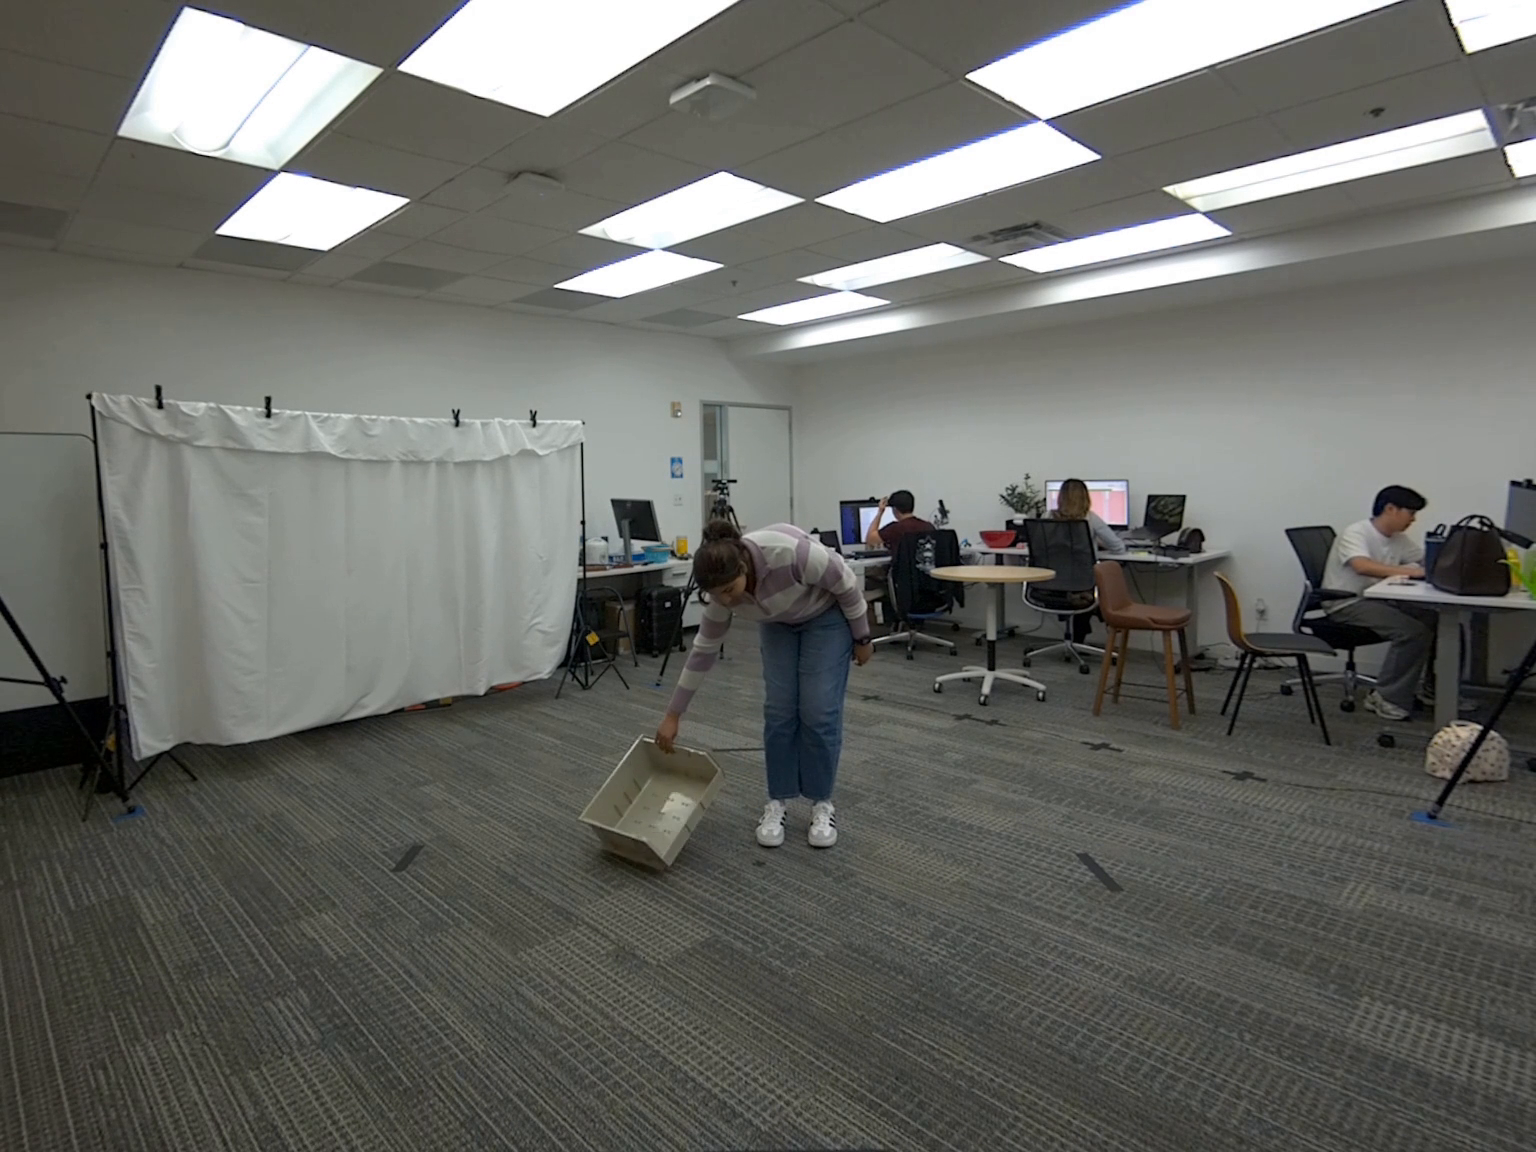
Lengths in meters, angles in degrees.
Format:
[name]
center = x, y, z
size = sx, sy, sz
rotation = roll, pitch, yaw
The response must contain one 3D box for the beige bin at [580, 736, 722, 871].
[beige bin]
center = -0.415, 0.851, 3.231
size = 0.388, 0.183, 0.423
rotation = 2, 40, 36
